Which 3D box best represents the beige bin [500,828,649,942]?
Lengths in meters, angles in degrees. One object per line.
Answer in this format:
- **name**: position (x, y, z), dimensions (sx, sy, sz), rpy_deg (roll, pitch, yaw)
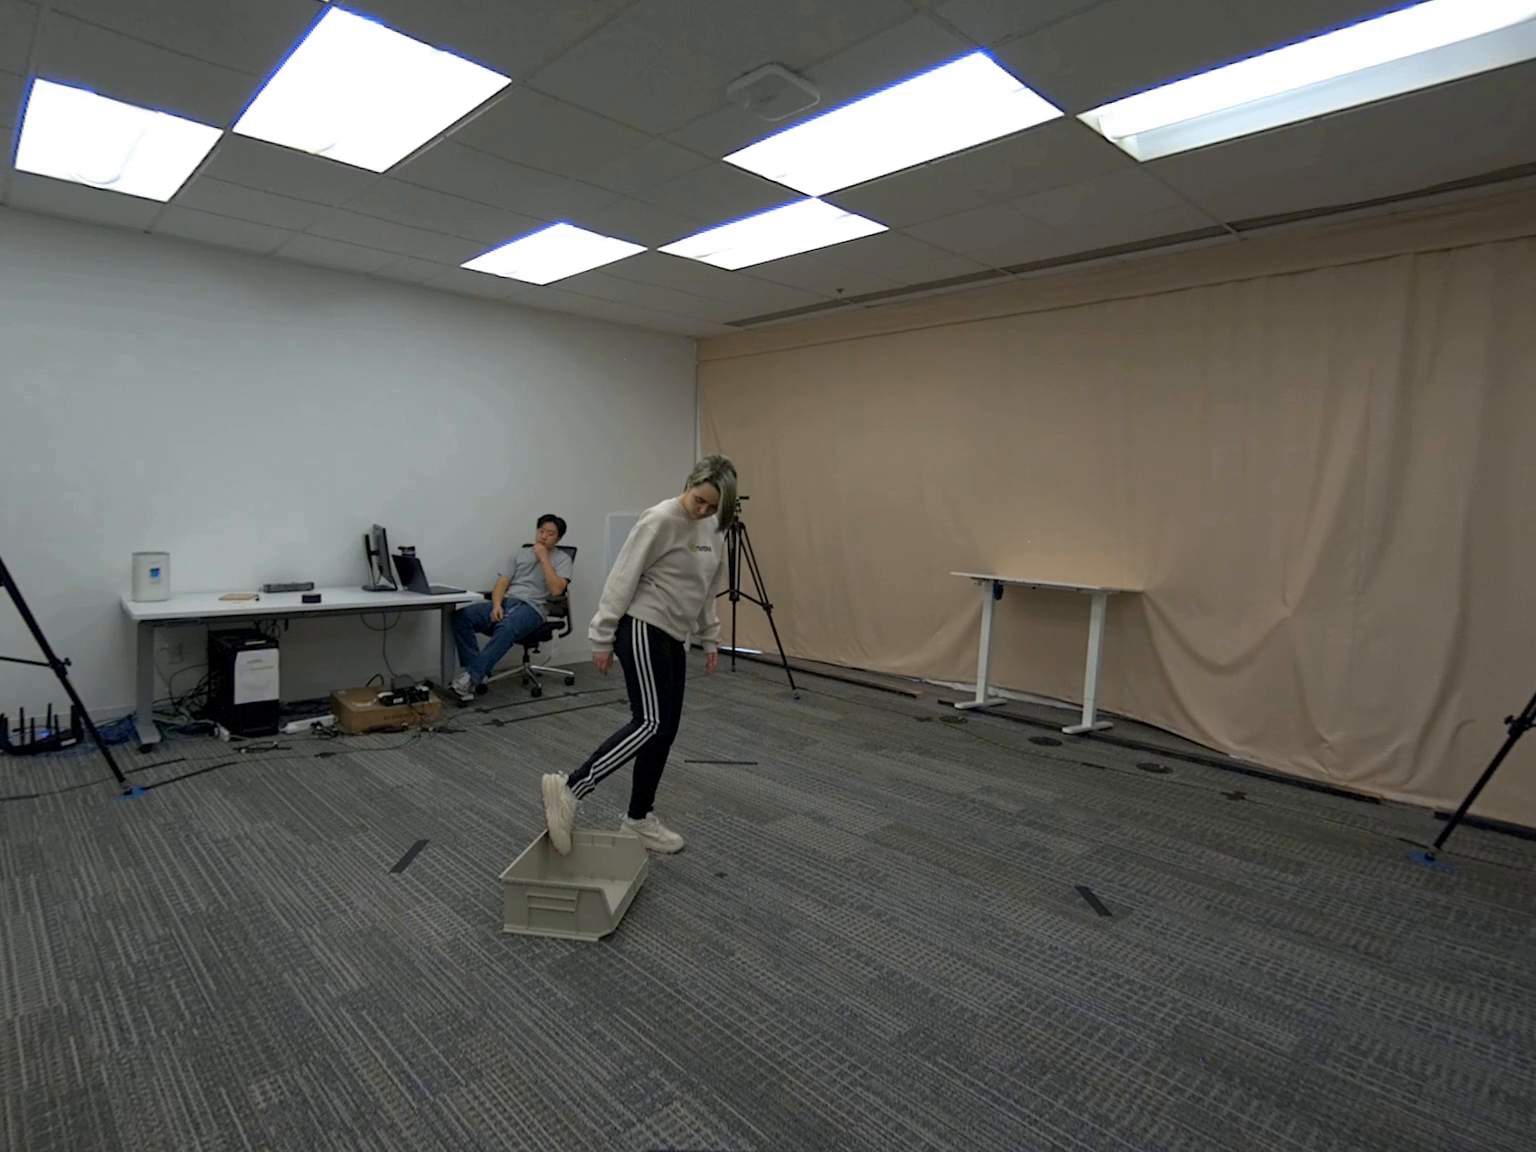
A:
- **beige bin**: position (-0.646, 1.029, 2.830), dimensions (0.380, 0.188, 0.420), rpy_deg (0, 4, 8)
